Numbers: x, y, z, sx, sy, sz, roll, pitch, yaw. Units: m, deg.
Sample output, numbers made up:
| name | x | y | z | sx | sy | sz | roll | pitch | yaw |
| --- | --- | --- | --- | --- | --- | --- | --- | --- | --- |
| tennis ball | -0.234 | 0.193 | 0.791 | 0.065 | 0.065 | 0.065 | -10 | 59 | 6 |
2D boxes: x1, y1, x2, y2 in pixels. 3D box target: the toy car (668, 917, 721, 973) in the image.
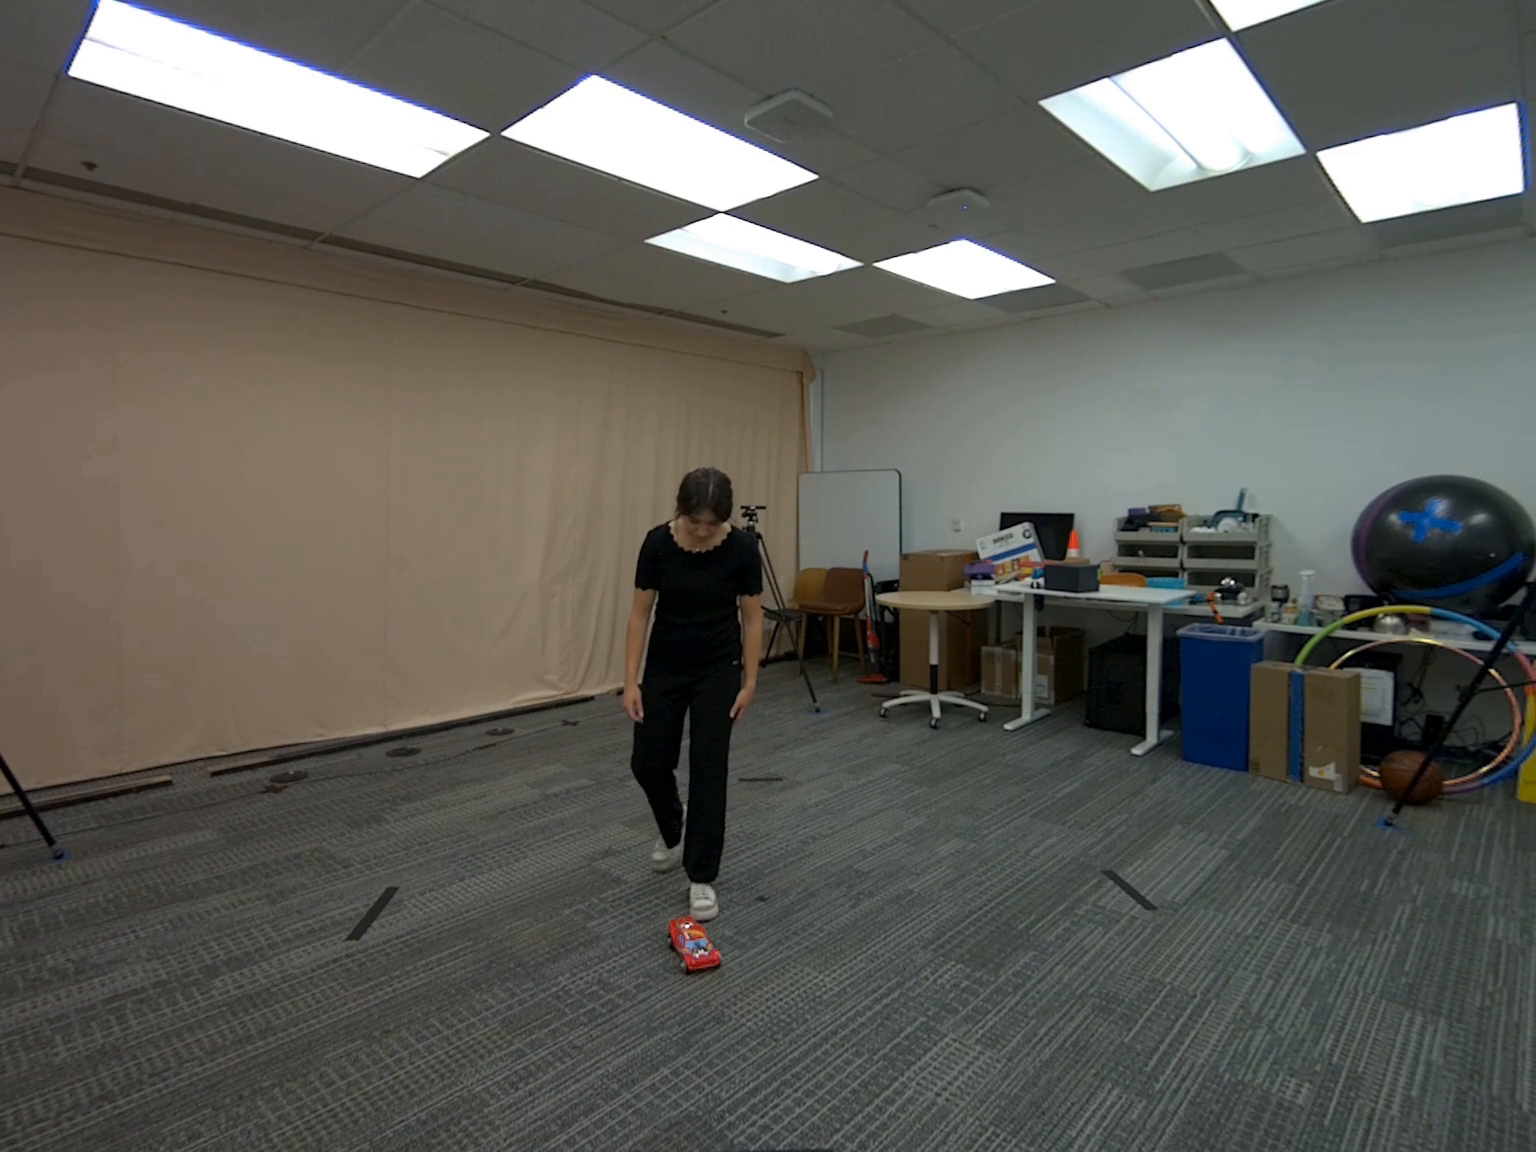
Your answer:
| name | x | y | z | sx | sy | sz | roll | pitch | yaw |
| --- | --- | --- | --- | --- | --- | --- | --- | --- | --- |
| toy car | -0.237 | 1.138 | 2.618 | 0.128 | 0.082 | 0.262 | -3 | 16 | -20 |
